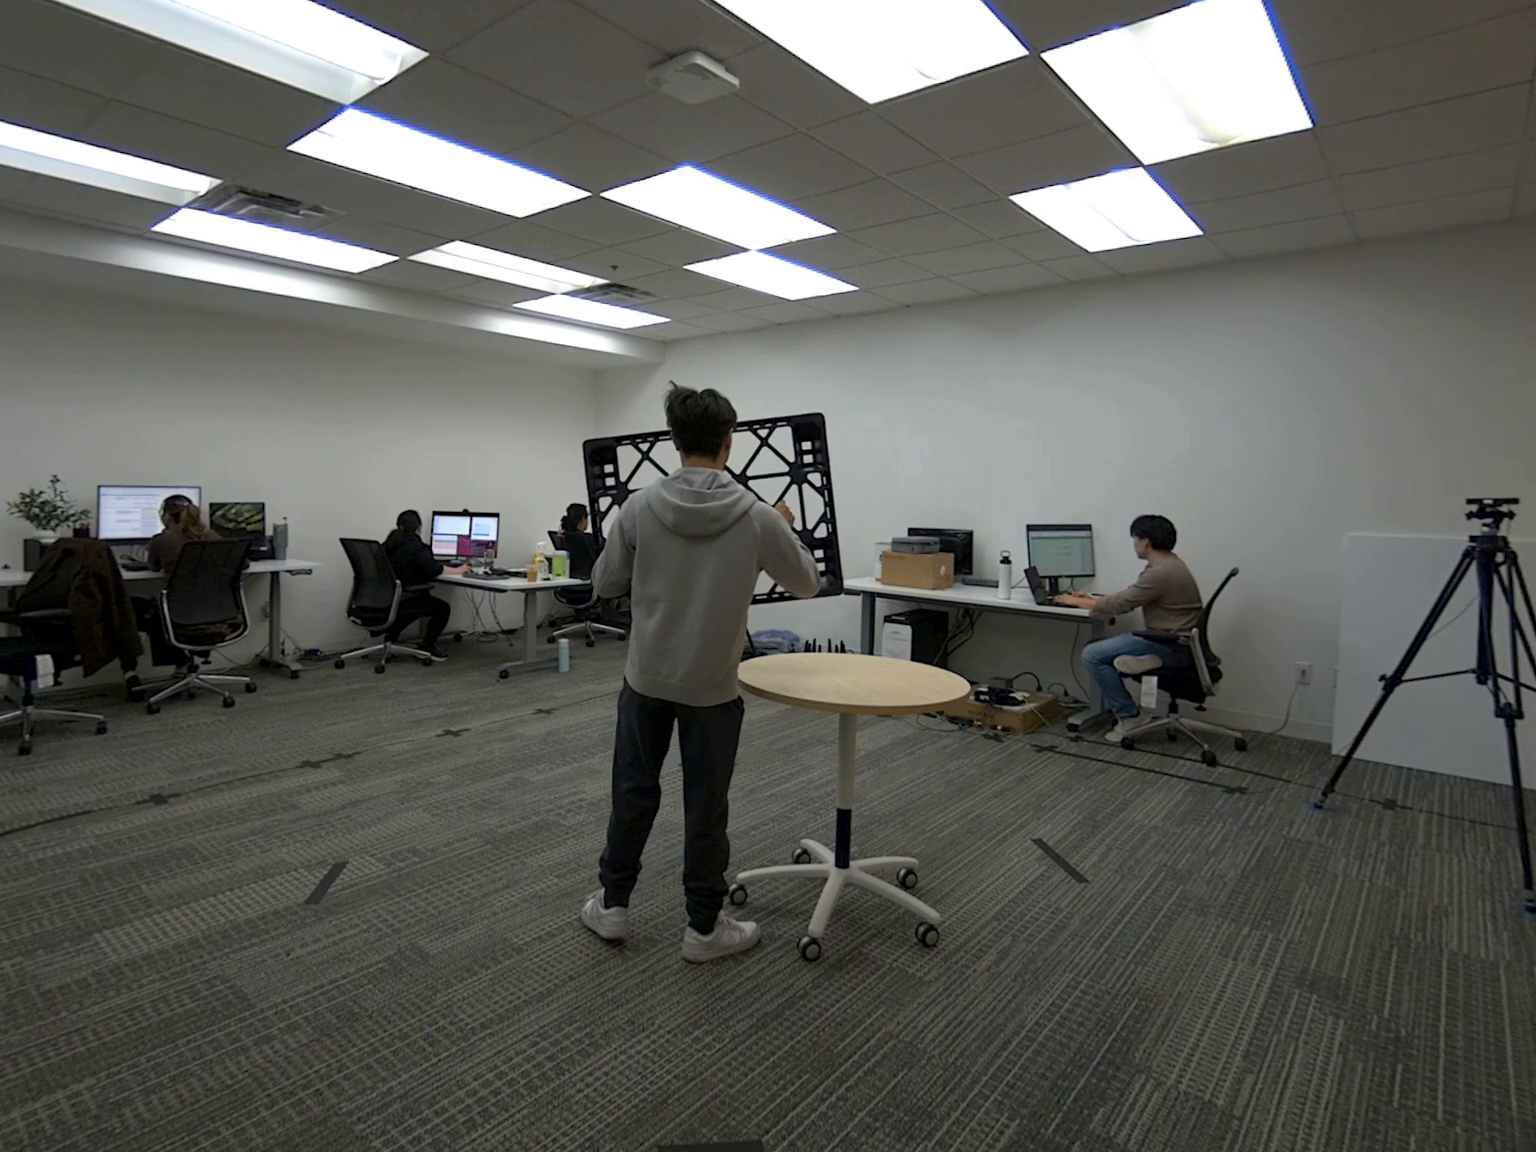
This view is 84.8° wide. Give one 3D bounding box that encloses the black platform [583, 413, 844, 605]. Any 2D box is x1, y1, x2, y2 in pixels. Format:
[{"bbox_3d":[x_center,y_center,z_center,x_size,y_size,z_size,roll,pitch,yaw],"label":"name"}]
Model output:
[{"bbox_3d":[-0.190,-0.189,2.832,0.807,0.604,0.143,-6,2,2],"label":"black platform"}]
